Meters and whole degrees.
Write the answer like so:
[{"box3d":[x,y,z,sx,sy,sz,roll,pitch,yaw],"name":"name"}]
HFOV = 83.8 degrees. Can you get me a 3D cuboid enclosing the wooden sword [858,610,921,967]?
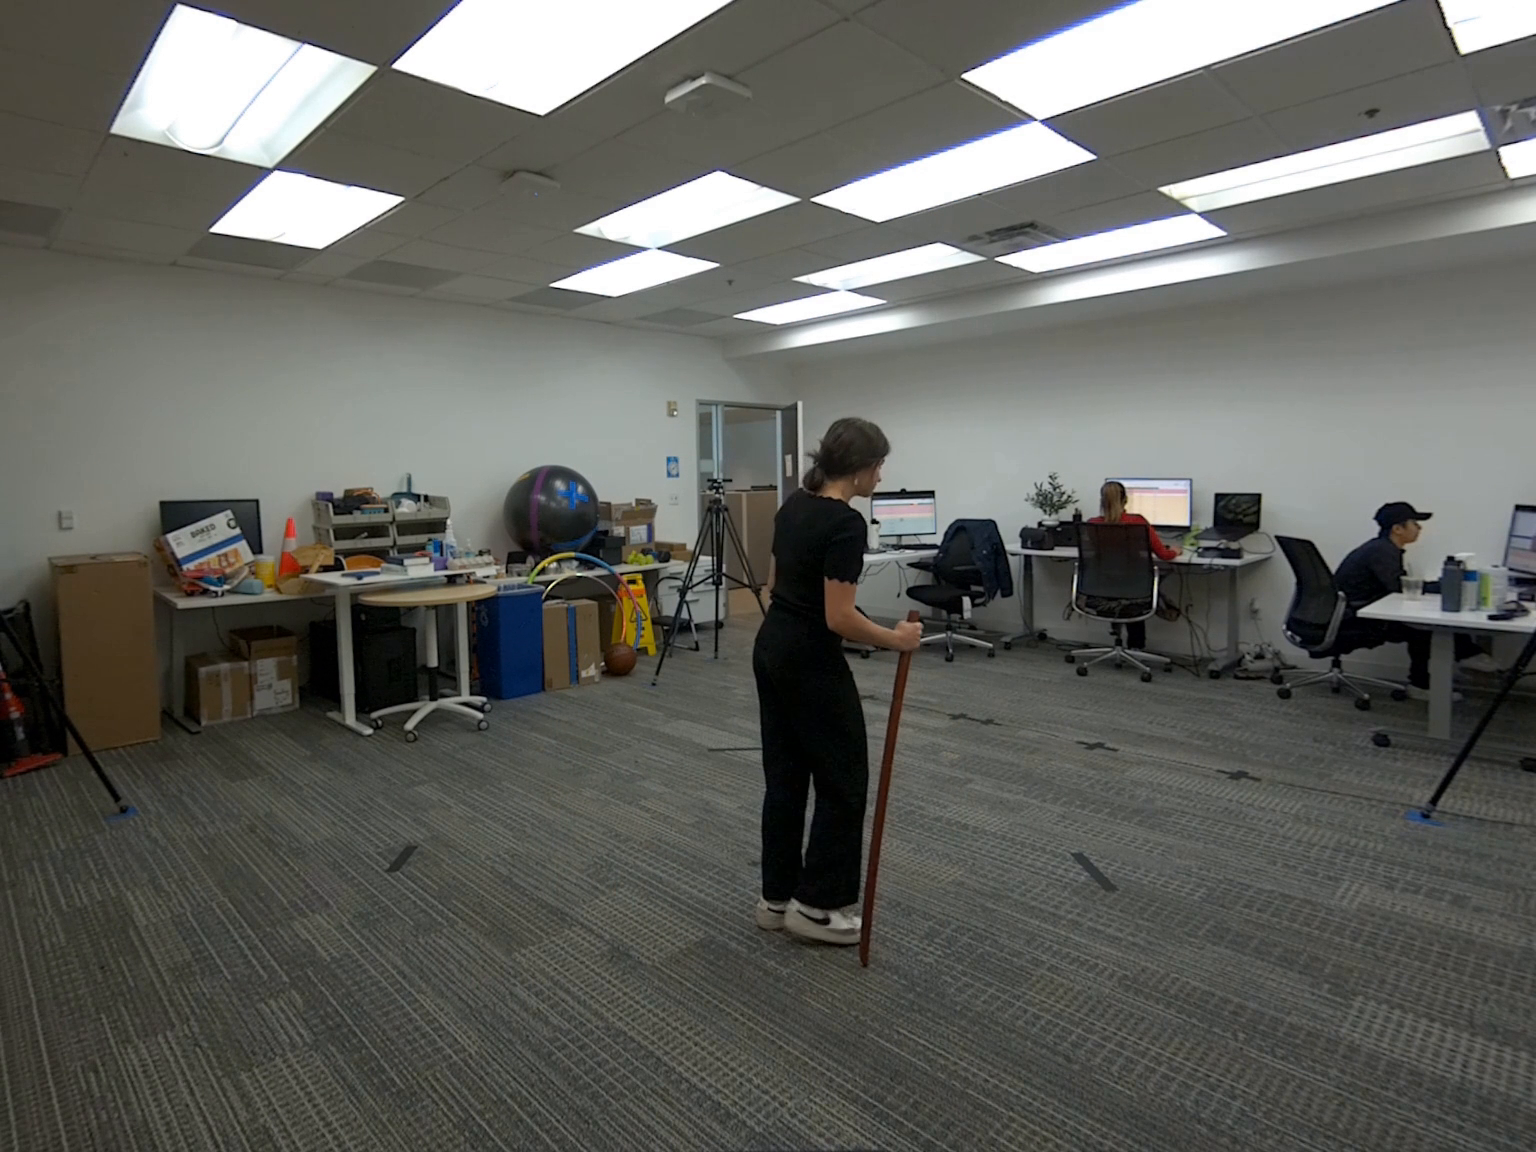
[{"box3d":[0.344,0.629,2.503,0.051,1.030,0.024,11,-8,2],"name":"wooden sword"}]
